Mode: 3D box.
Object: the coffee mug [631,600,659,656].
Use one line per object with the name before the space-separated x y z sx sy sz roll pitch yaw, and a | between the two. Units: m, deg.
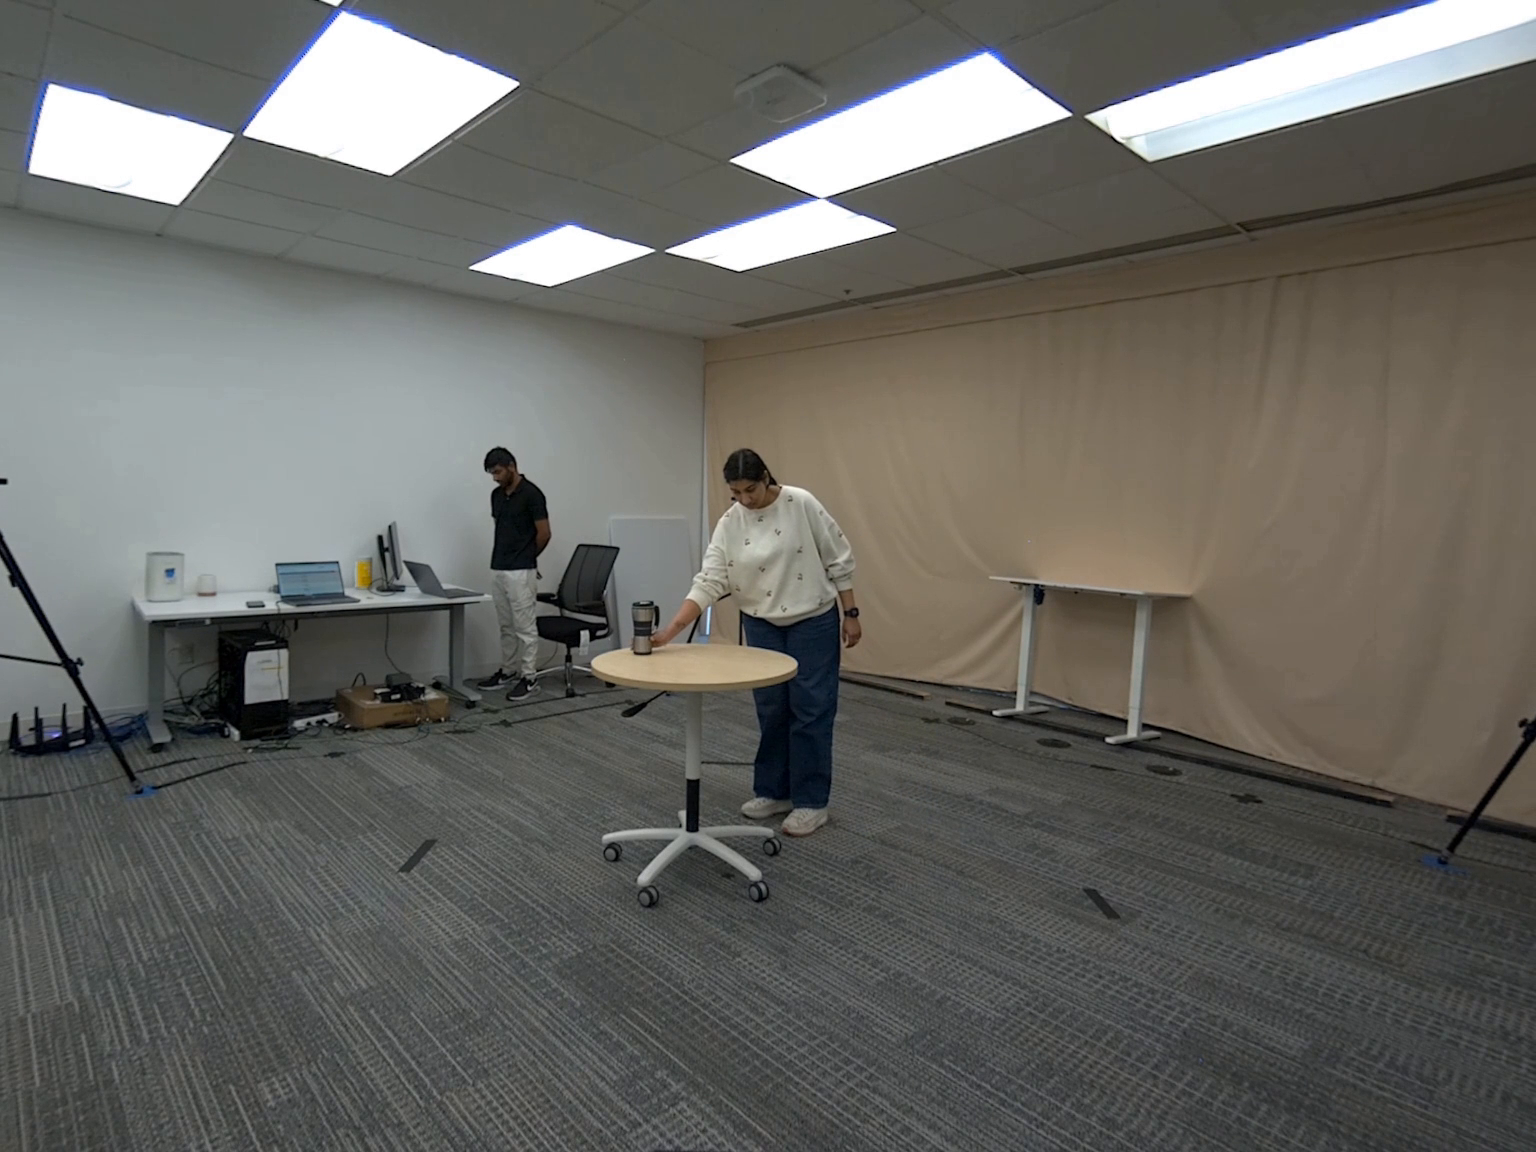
coffee mug | -0.518 0.204 3.262 0.119 0.203 0.090 5 2 -27
